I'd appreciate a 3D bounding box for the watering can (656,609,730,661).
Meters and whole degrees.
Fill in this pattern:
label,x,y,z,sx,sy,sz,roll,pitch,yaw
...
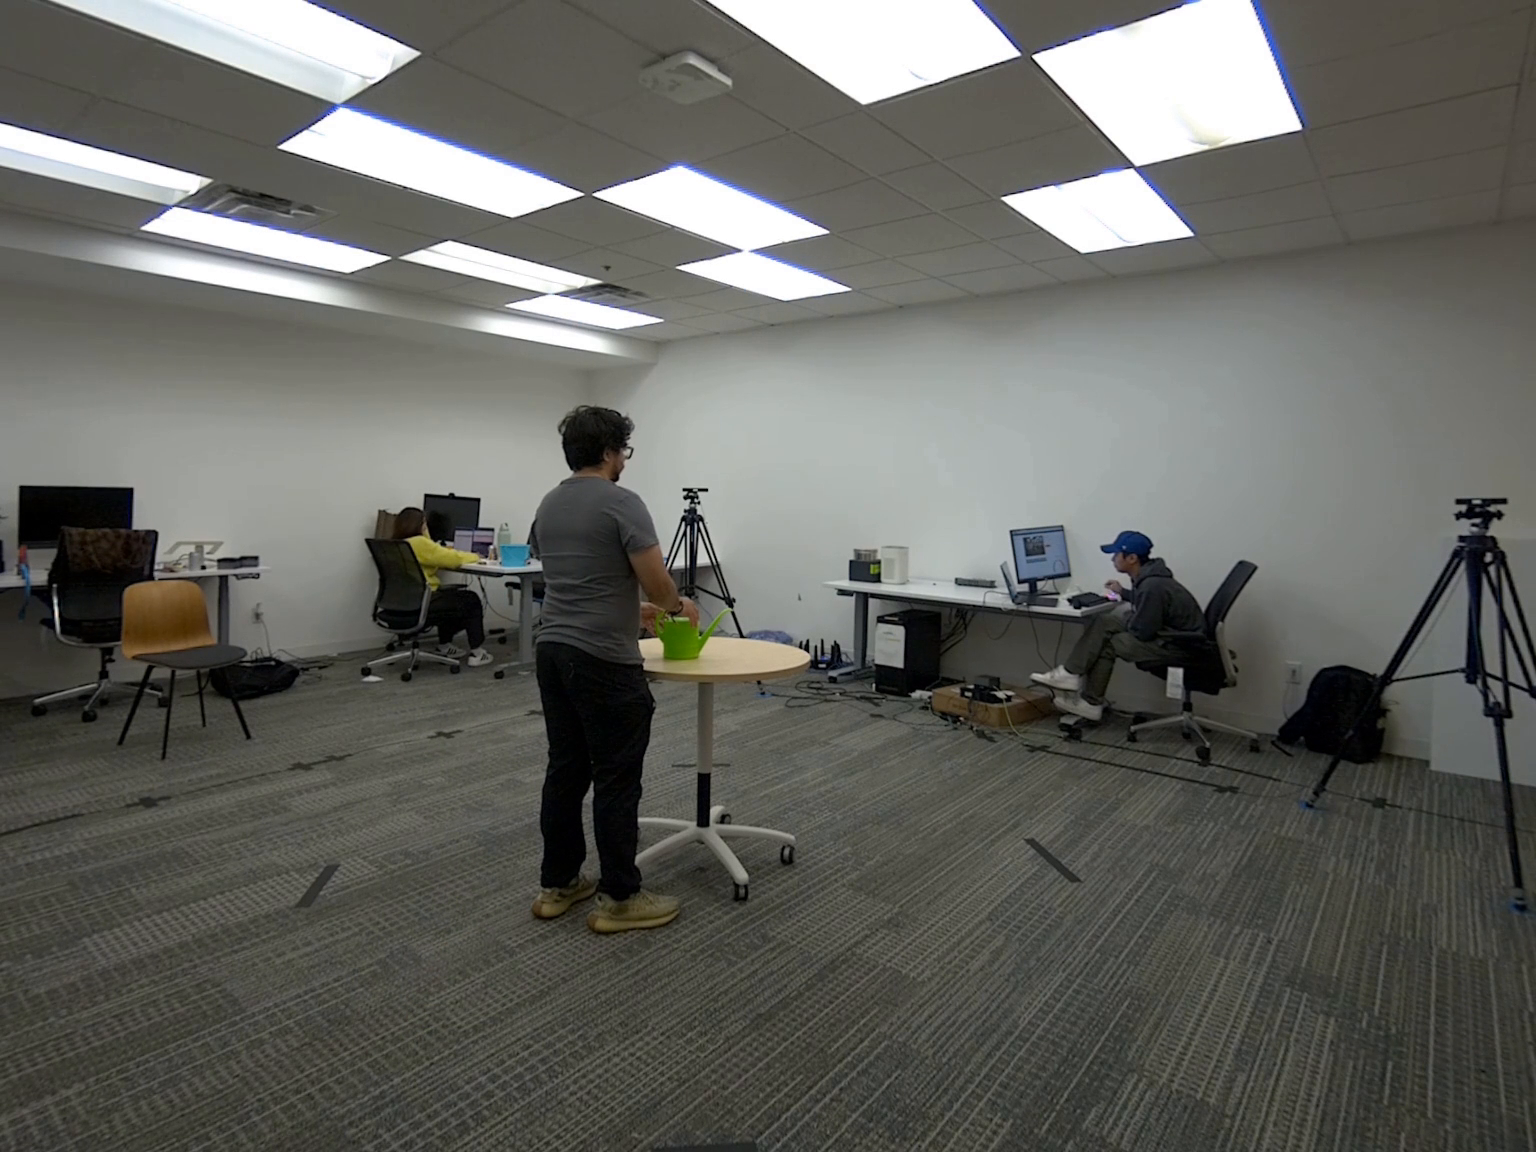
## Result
label,x,y,z,sx,sy,sz,roll,pitch,yaw
watering can,-0.276,0.208,3.035,0.285,0.176,0.096,2,5,22
